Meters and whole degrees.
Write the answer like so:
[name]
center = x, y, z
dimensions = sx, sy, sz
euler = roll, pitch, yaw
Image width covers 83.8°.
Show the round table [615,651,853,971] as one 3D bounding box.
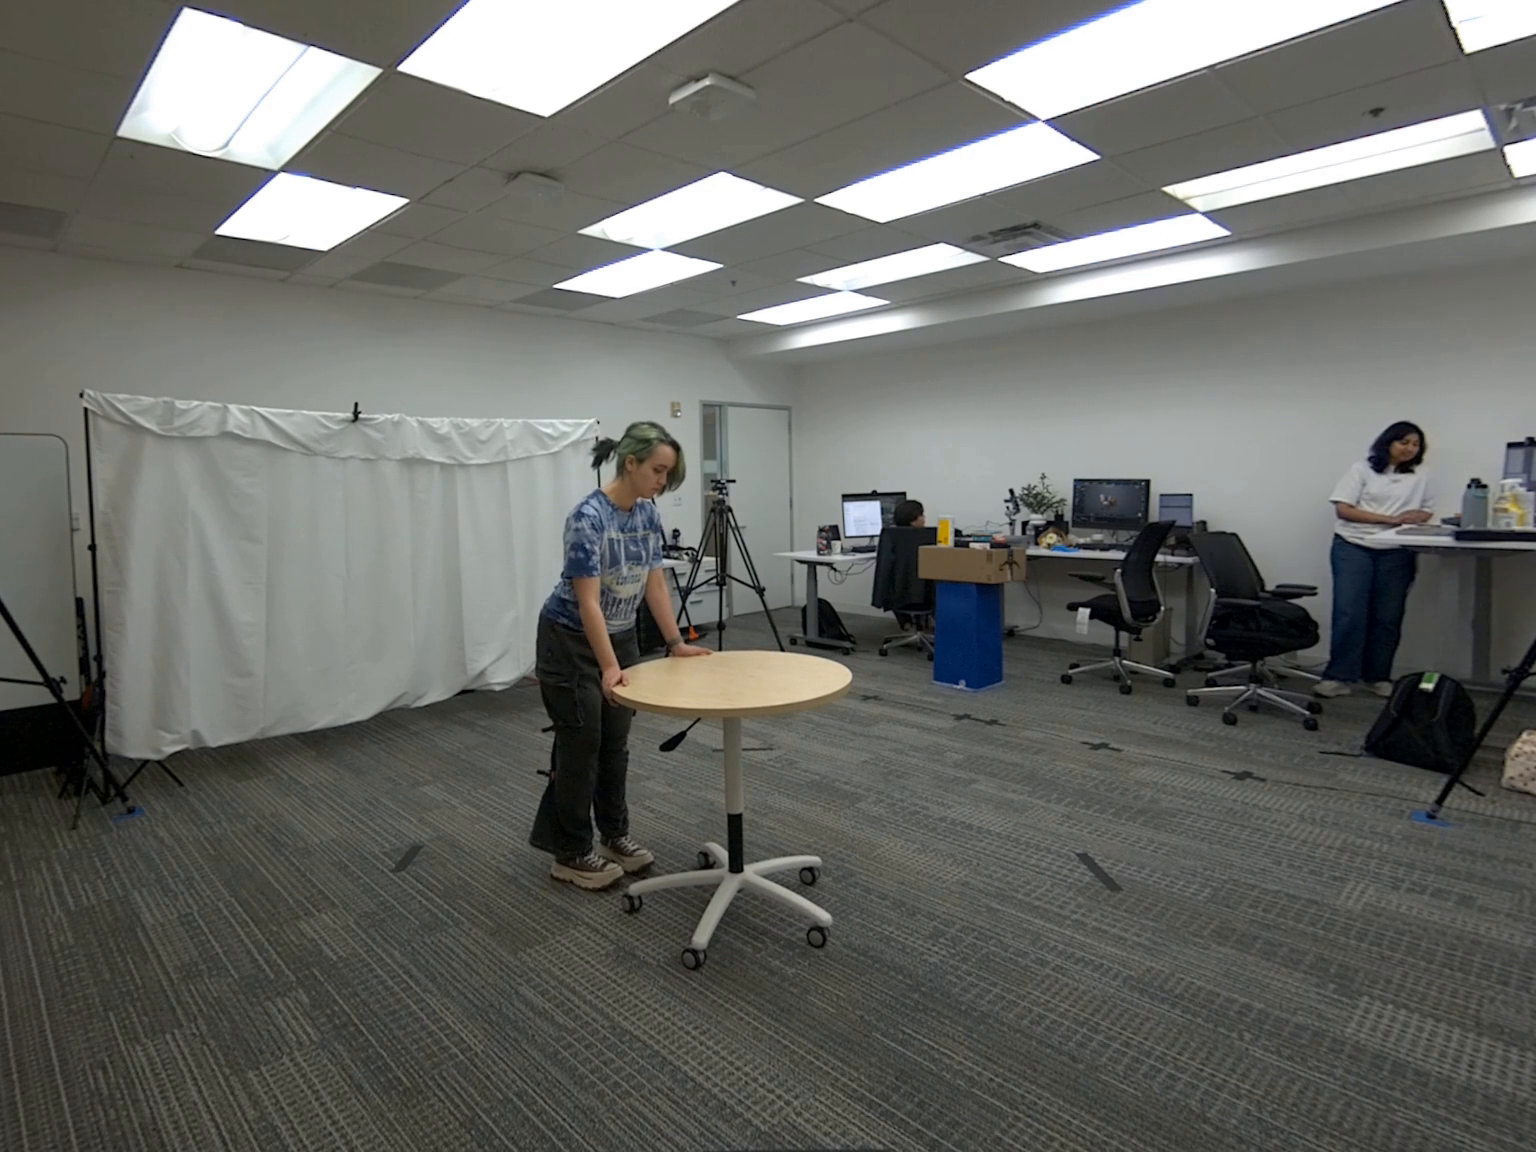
[round table]
center = -0.107, 0.708, 2.731
dimensions = 0.763, 0.791, 0.768
euler = -2, 5, -2
